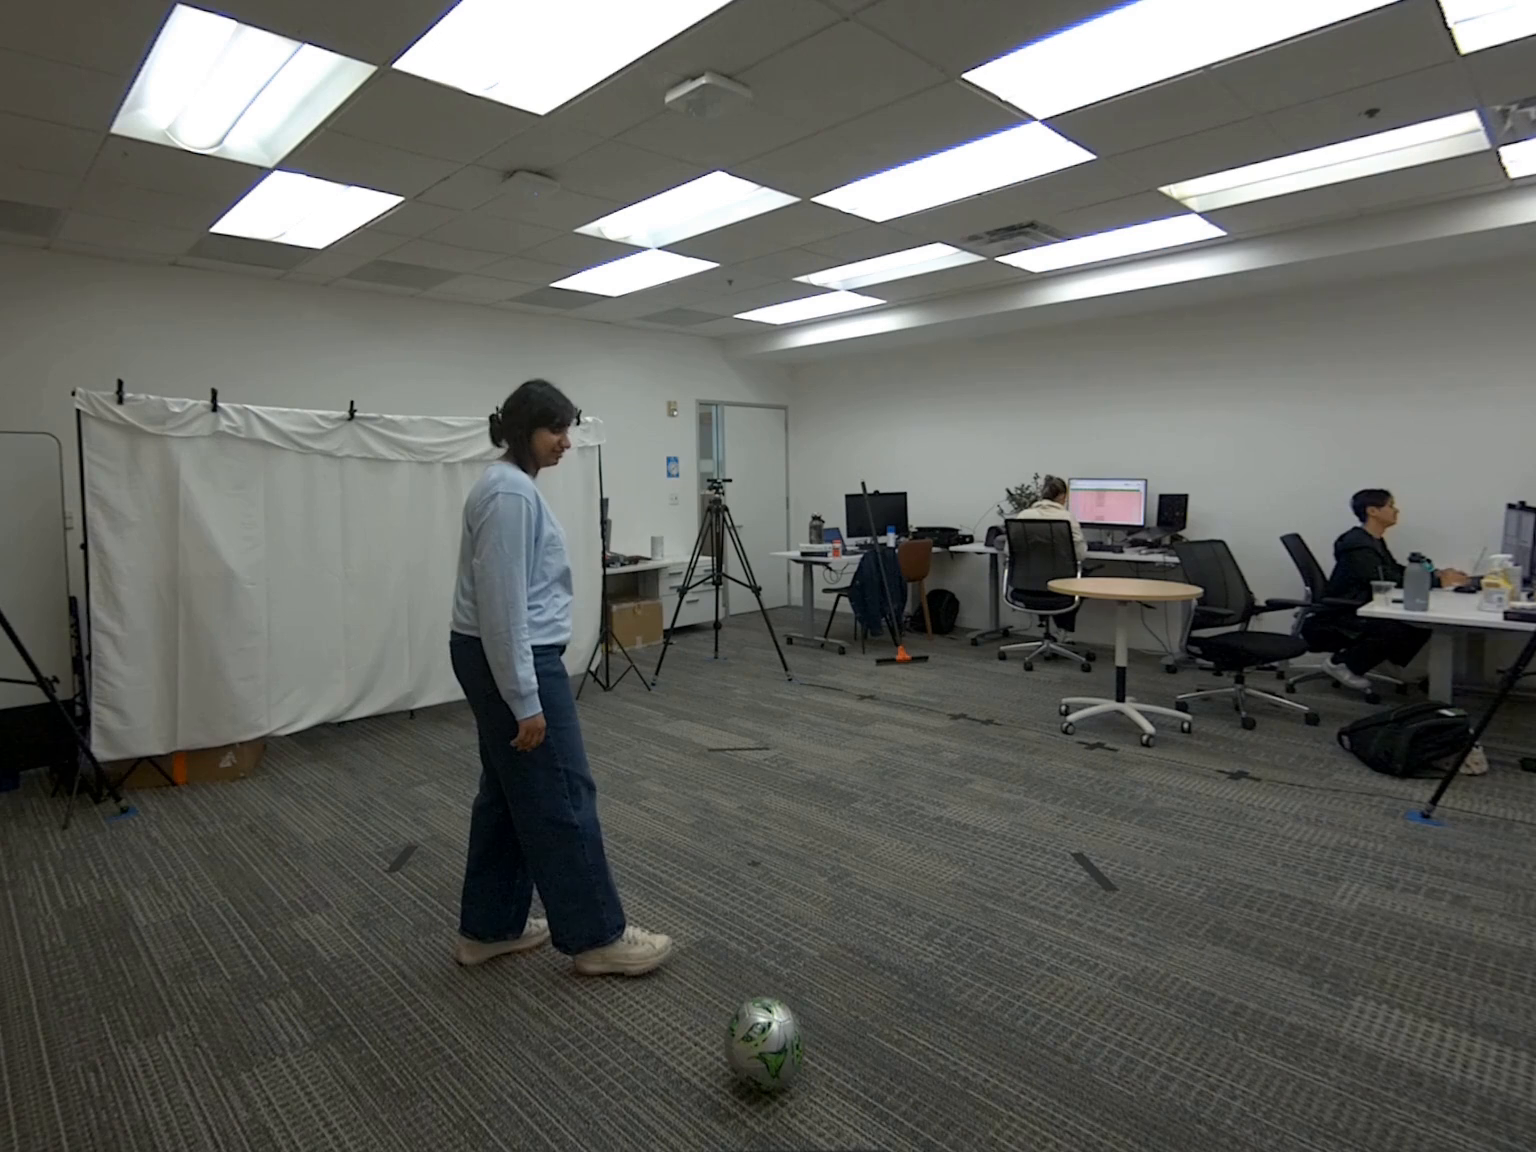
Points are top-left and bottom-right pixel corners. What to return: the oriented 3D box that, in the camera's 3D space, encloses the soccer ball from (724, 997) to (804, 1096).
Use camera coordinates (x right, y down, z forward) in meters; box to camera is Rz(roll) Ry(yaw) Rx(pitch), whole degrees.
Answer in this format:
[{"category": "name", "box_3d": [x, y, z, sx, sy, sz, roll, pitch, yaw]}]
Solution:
[{"category": "soccer ball", "box_3d": [0.002, 1.084, 1.980, 0.187, 0.187, 0.188, -1, 5, -2]}]
